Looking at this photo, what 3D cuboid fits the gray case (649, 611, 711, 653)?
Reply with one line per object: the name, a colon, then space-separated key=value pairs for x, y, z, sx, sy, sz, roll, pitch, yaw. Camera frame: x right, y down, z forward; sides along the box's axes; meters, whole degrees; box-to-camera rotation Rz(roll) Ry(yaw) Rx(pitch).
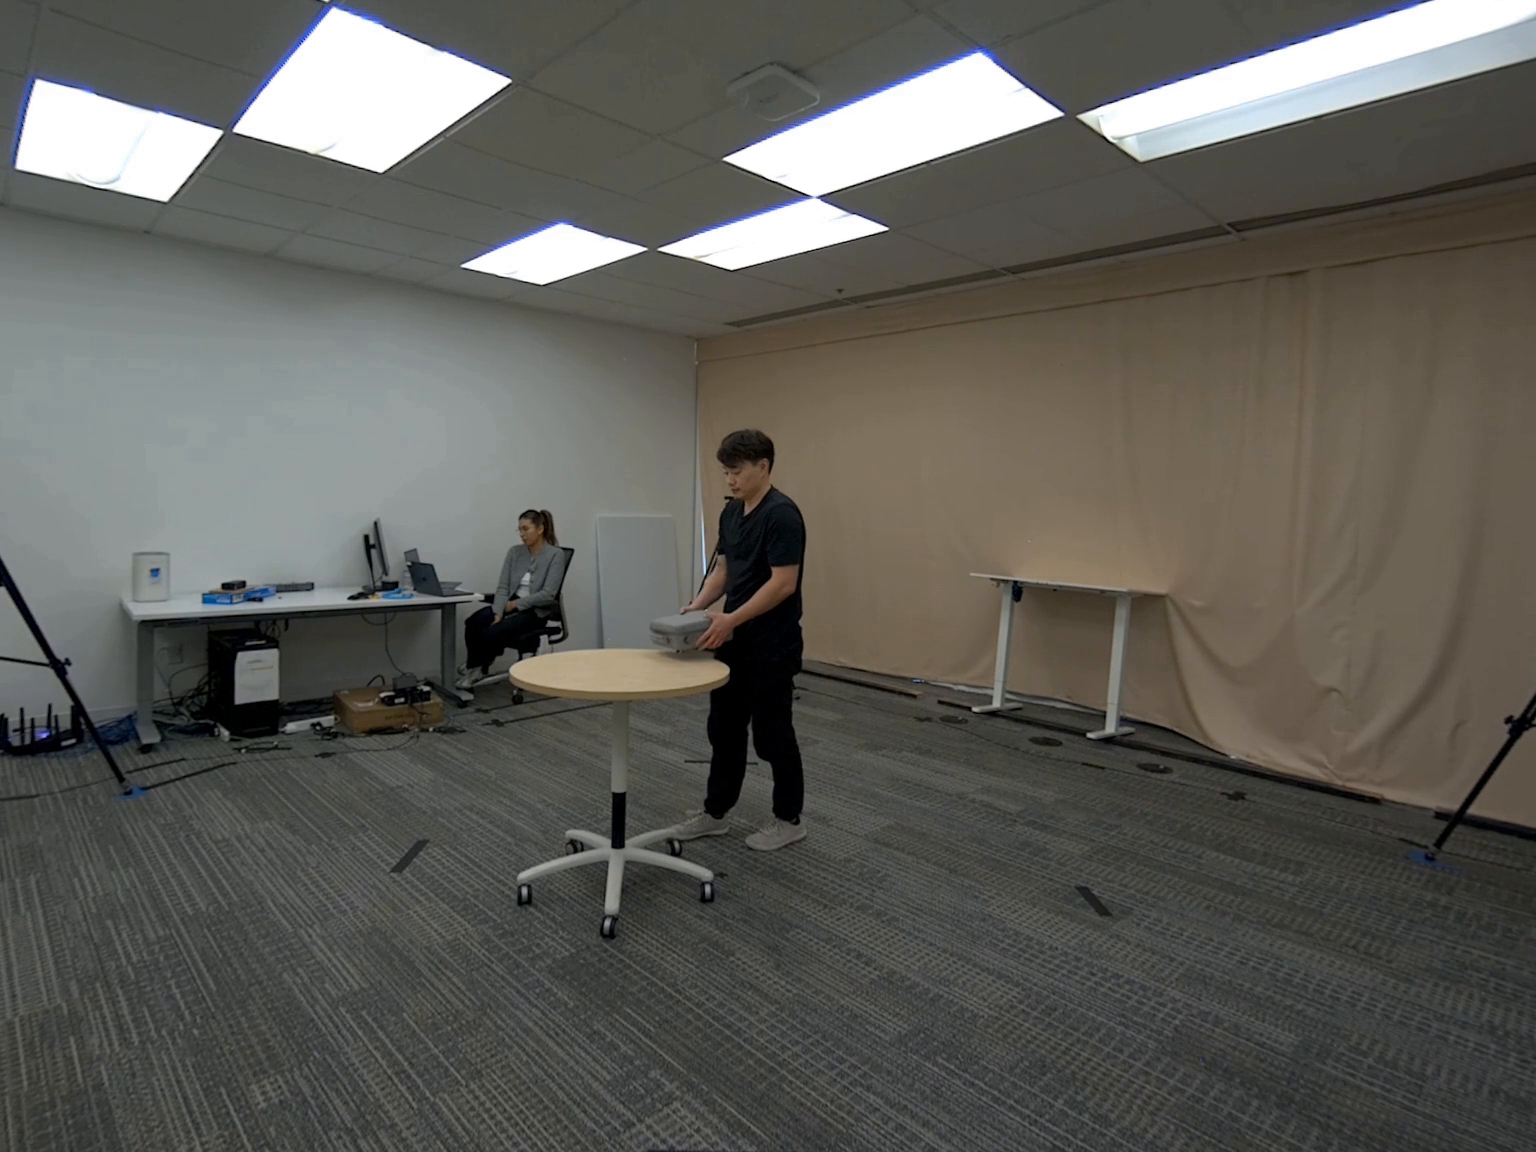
gray case: x=-0.307 y=0.206 z=3.246 sx=0.256 sy=0.104 sz=0.262 roll=-10 pitch=8 yaw=-30
